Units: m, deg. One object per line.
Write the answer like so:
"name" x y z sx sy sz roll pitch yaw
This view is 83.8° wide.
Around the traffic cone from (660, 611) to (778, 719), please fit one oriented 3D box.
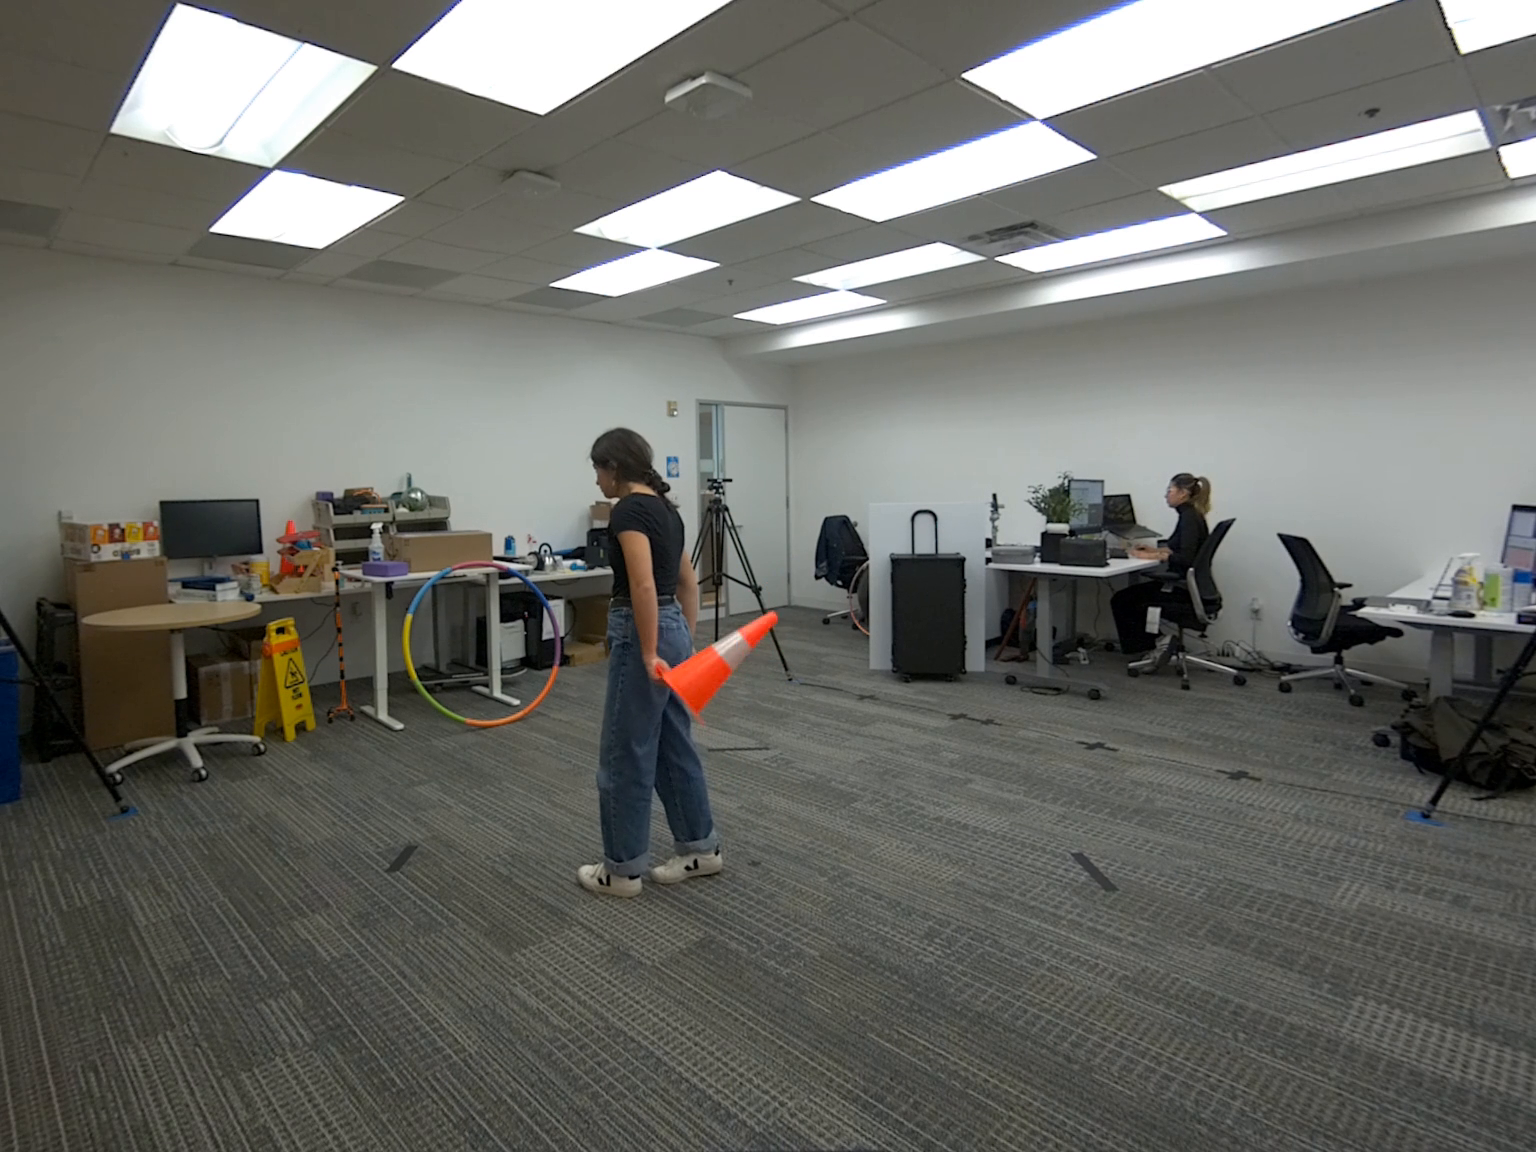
"traffic cone" -0.141 0.247 2.627 0.383 0.201 0.207 -39 10 -3
